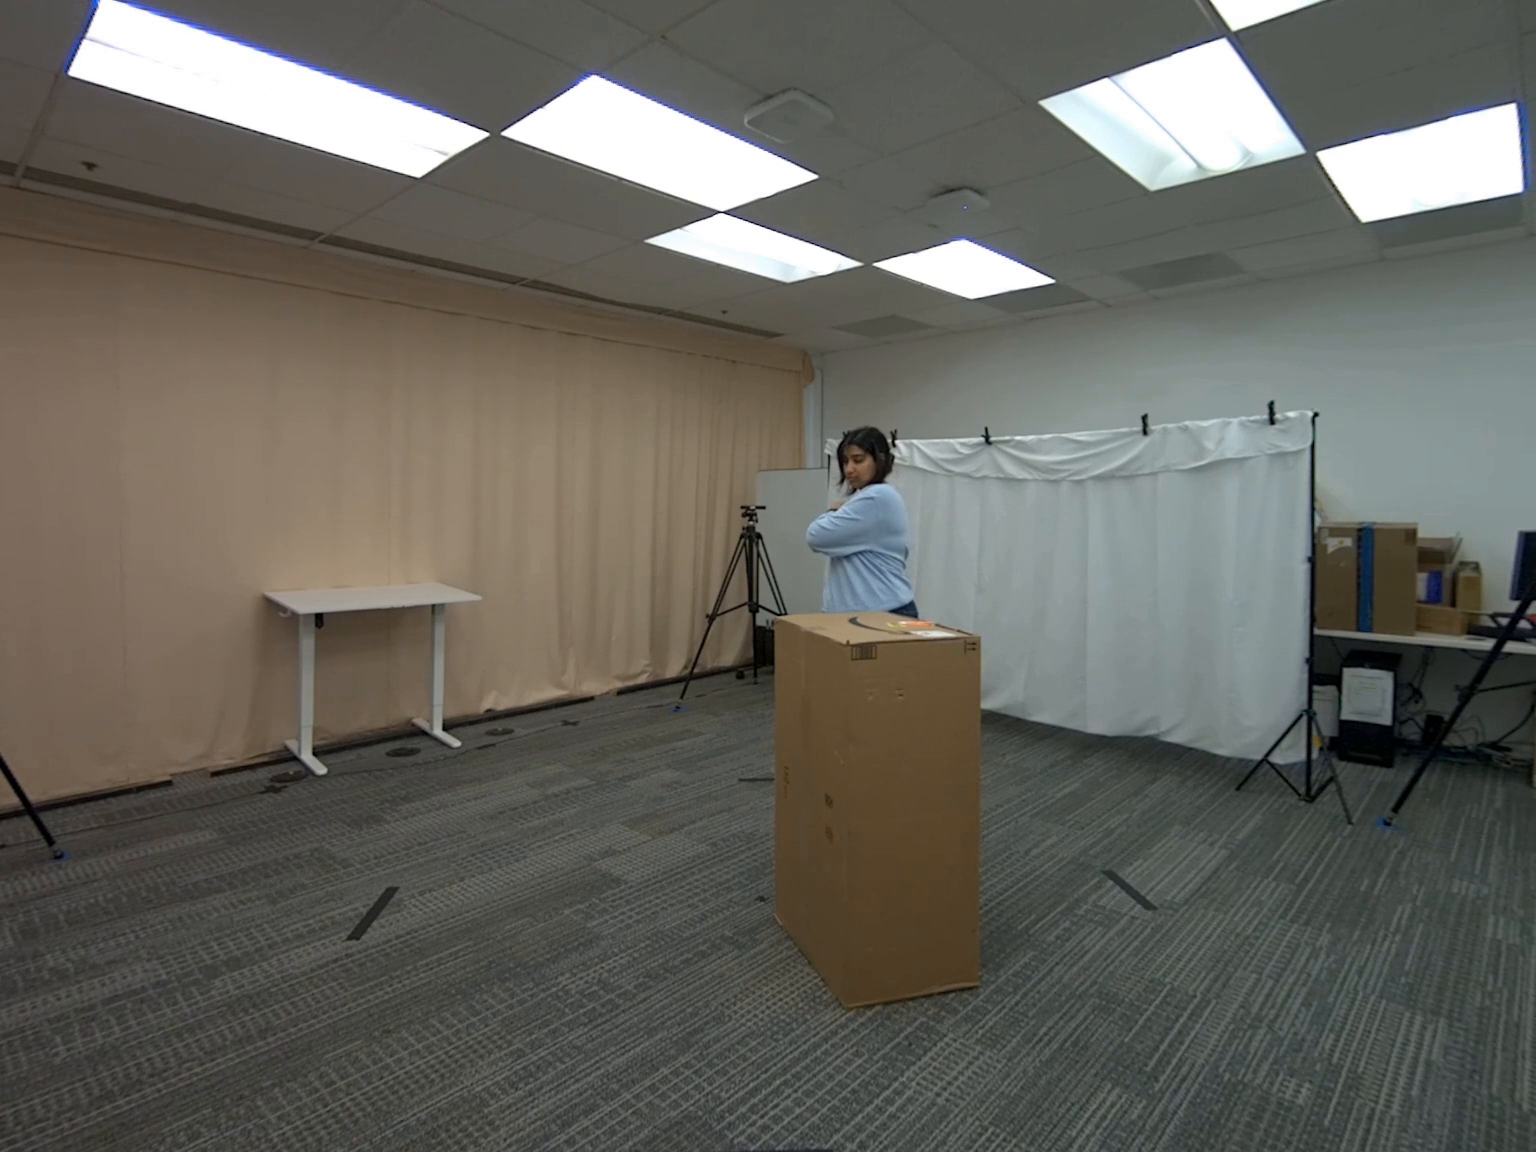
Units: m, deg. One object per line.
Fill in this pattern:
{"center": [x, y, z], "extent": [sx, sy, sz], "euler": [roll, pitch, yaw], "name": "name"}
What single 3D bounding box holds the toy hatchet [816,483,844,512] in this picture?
{"center": [0.359, -0.353, 3.630], "extent": [0.271, 0.131, 0.029], "euler": [-29, -1, 7], "name": "toy hatchet"}
